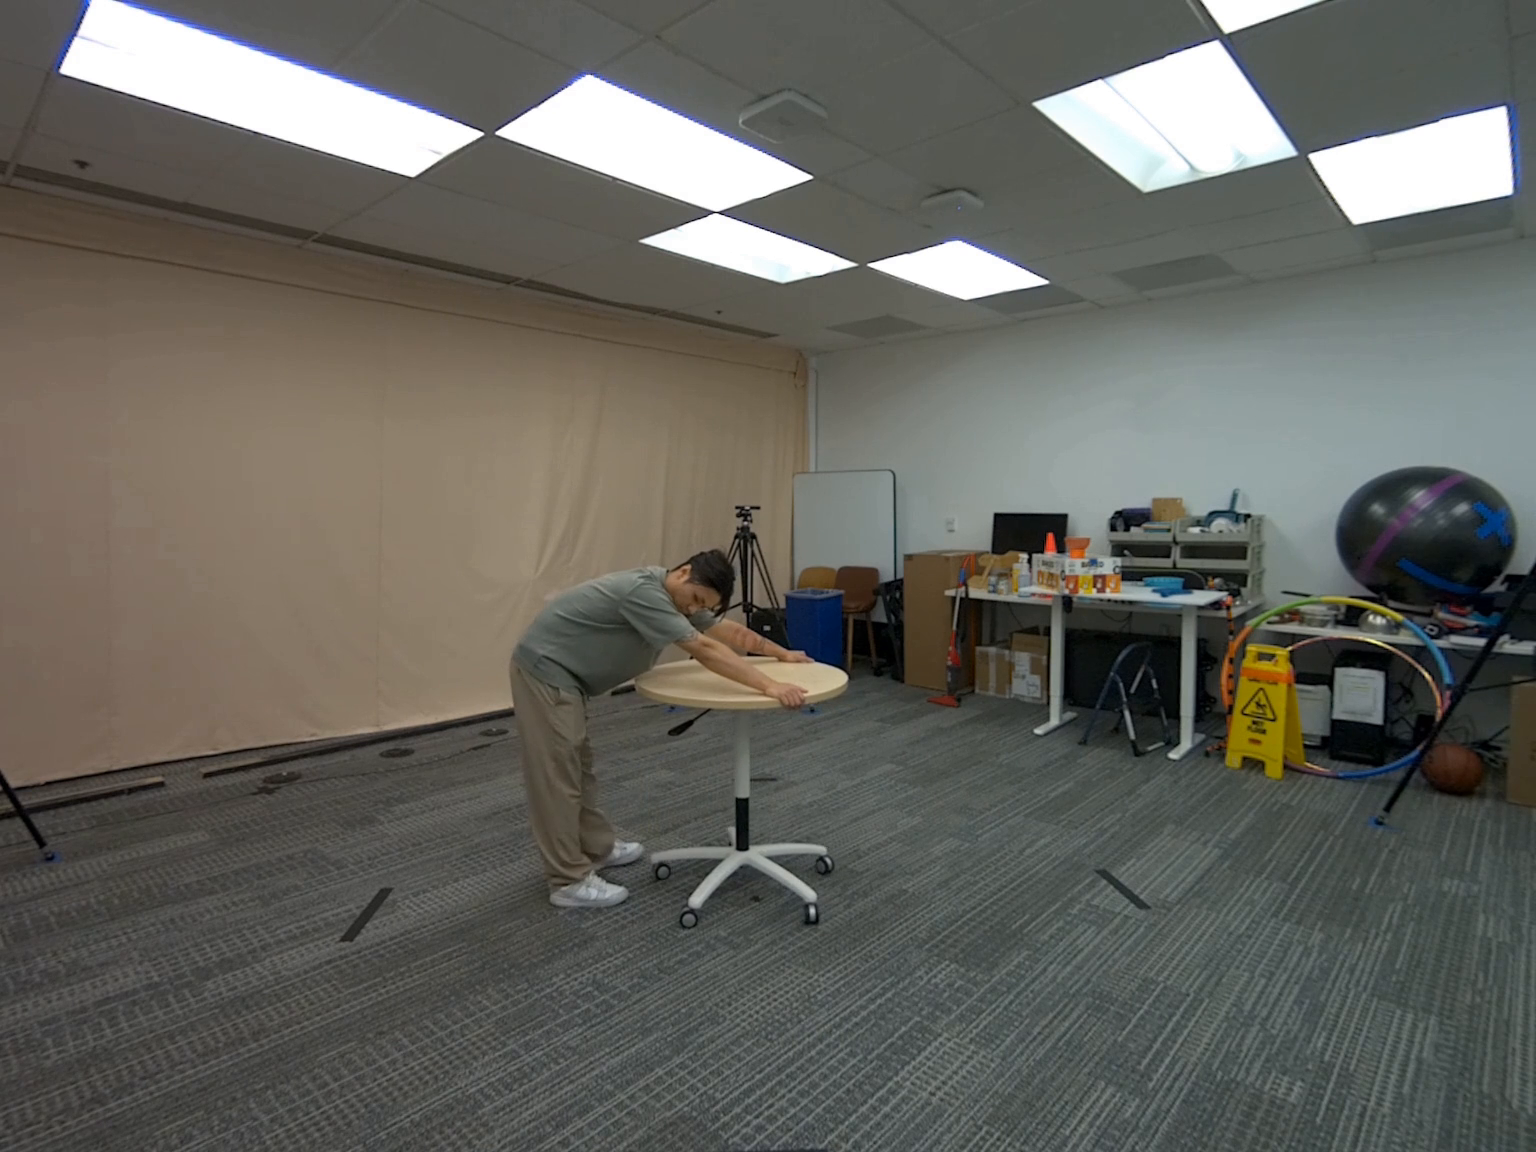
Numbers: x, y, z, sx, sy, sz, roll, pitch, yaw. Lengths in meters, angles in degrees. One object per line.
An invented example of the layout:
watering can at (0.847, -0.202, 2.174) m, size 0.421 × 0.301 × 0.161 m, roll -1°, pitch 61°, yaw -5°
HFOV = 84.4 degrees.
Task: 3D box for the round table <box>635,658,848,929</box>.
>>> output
round table at (-0.087, 0.749, 3.069) m, size 0.784 × 0.785 × 0.788 m, roll -1°, pitch 4°, yaw -2°
